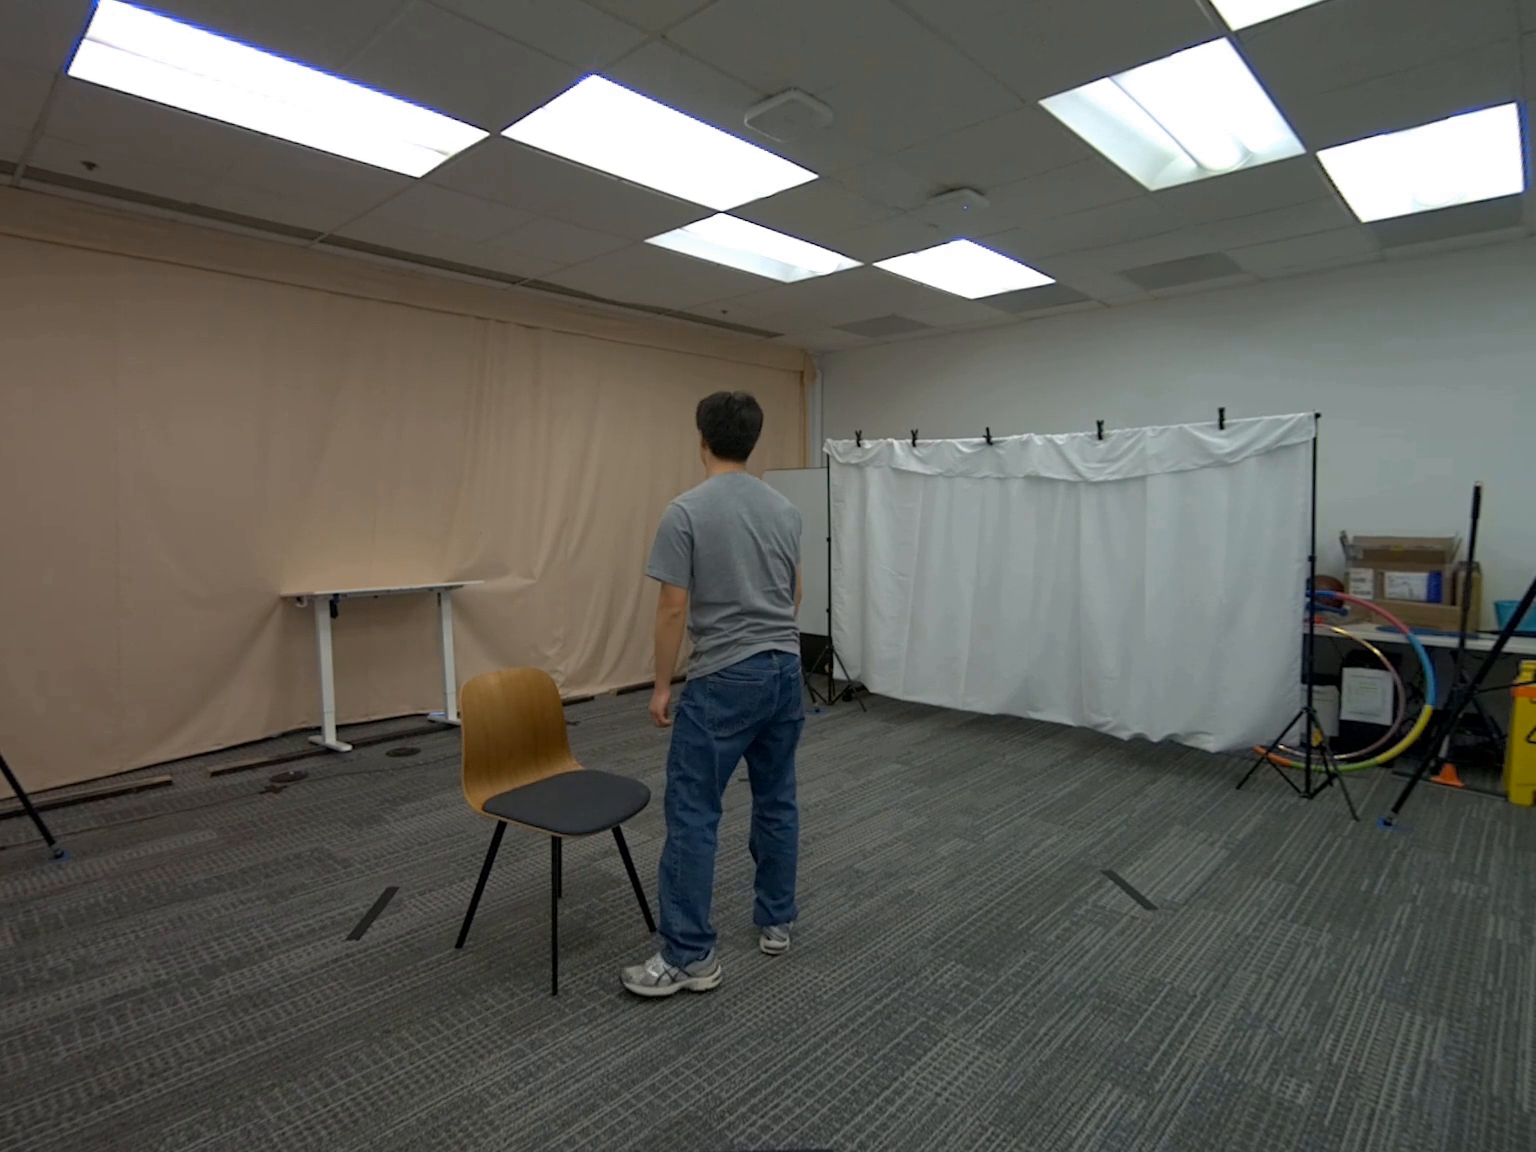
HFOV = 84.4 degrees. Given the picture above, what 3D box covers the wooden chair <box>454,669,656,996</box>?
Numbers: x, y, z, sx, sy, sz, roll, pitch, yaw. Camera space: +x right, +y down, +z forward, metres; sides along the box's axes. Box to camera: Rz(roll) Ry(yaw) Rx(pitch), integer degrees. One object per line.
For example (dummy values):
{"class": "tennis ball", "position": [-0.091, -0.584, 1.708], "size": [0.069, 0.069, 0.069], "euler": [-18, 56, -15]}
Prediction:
{"class": "wooden chair", "position": [-0.670, 0.748, 2.679], "size": [0.539, 0.877, 0.464], "euler": [-3, 0, 35]}
